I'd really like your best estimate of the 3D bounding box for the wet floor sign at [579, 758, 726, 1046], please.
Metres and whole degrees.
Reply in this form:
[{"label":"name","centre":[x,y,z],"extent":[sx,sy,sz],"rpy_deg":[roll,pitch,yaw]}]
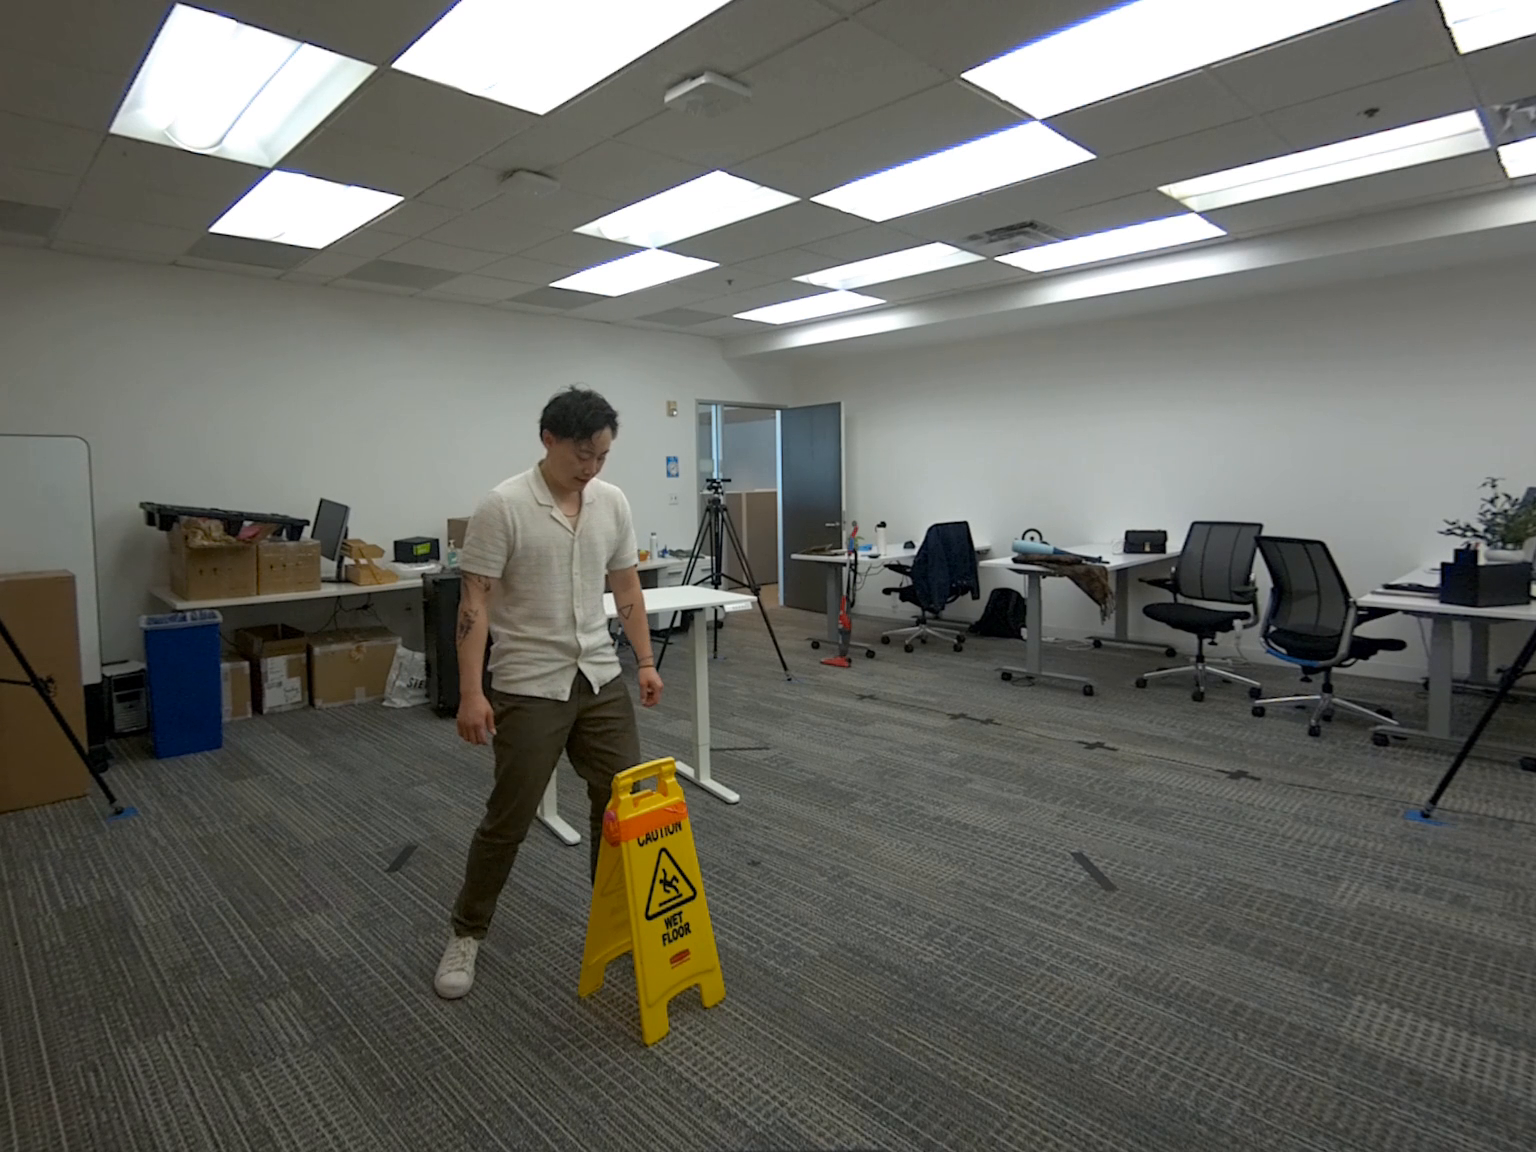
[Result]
[{"label":"wet floor sign","centre":[-0.323,0.825,2.296],"extent":[0.298,0.643,0.275],"rpy_deg":[3,6,44]}]
